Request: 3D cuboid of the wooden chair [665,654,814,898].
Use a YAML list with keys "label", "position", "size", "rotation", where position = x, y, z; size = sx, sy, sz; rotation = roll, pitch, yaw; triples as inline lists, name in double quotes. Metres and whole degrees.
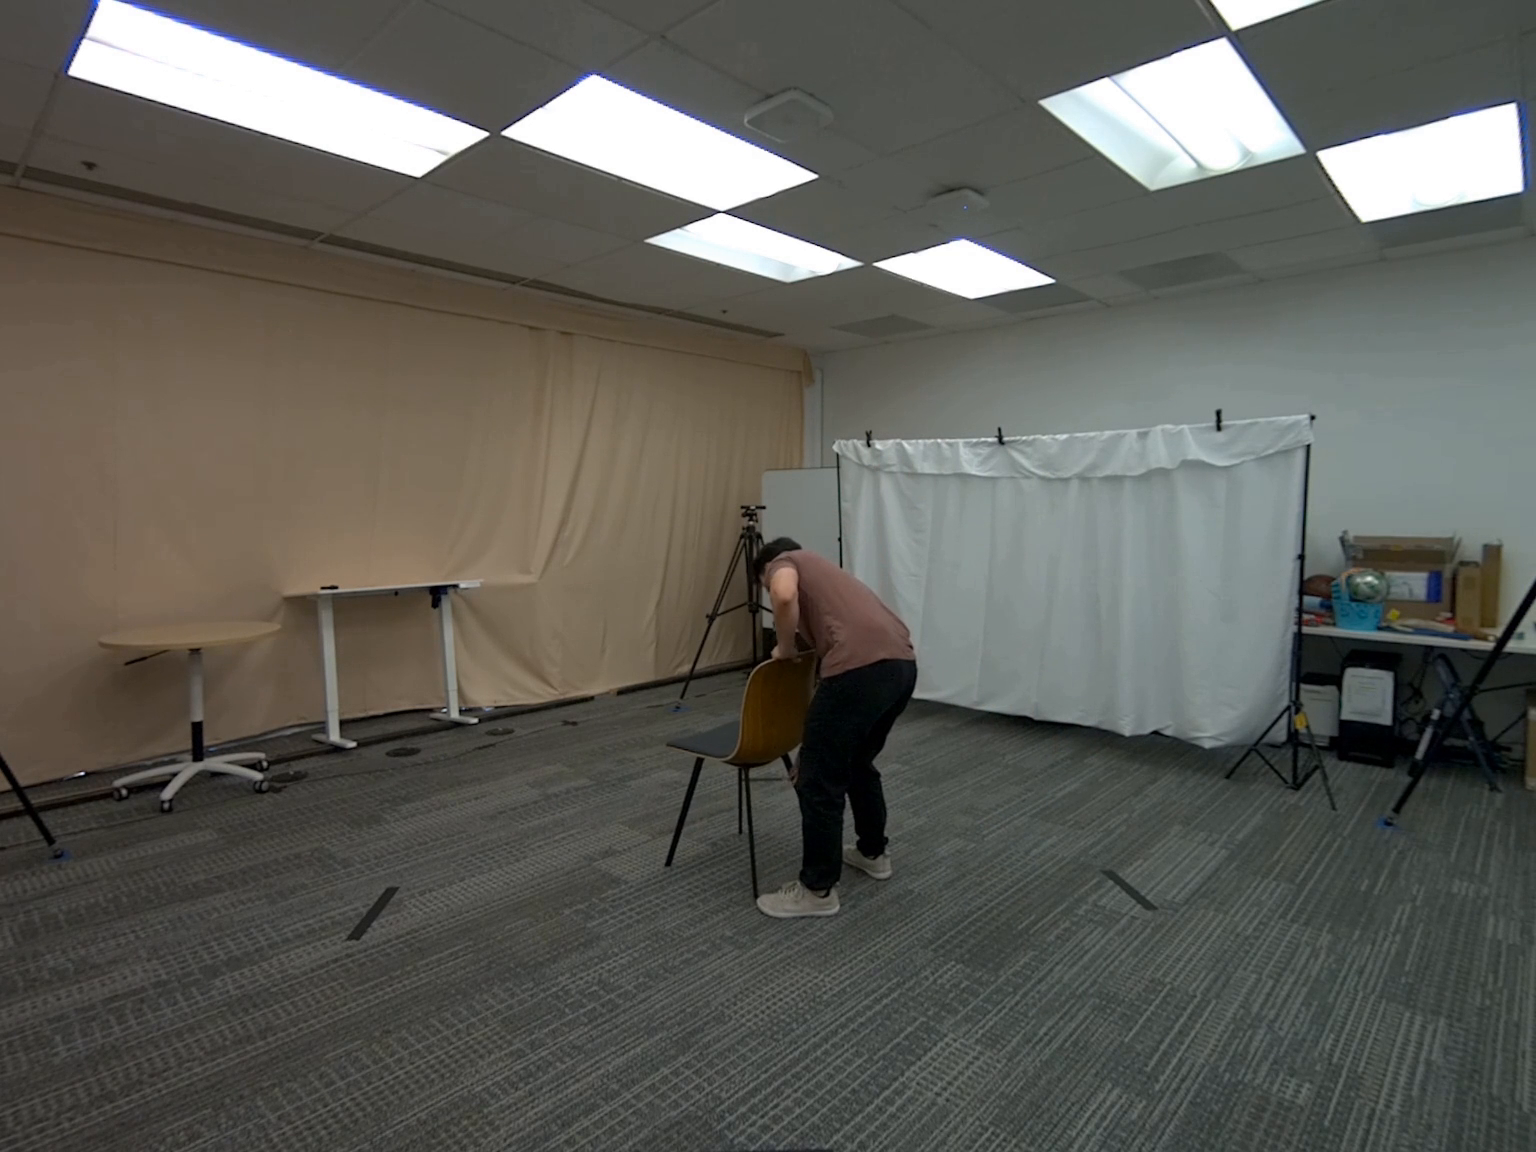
- label: "wooden chair"
  position: [-0.102, 0.687, 3.256]
  size: [0.541, 0.874, 0.464]
  rotation: [7, 7, 39]
